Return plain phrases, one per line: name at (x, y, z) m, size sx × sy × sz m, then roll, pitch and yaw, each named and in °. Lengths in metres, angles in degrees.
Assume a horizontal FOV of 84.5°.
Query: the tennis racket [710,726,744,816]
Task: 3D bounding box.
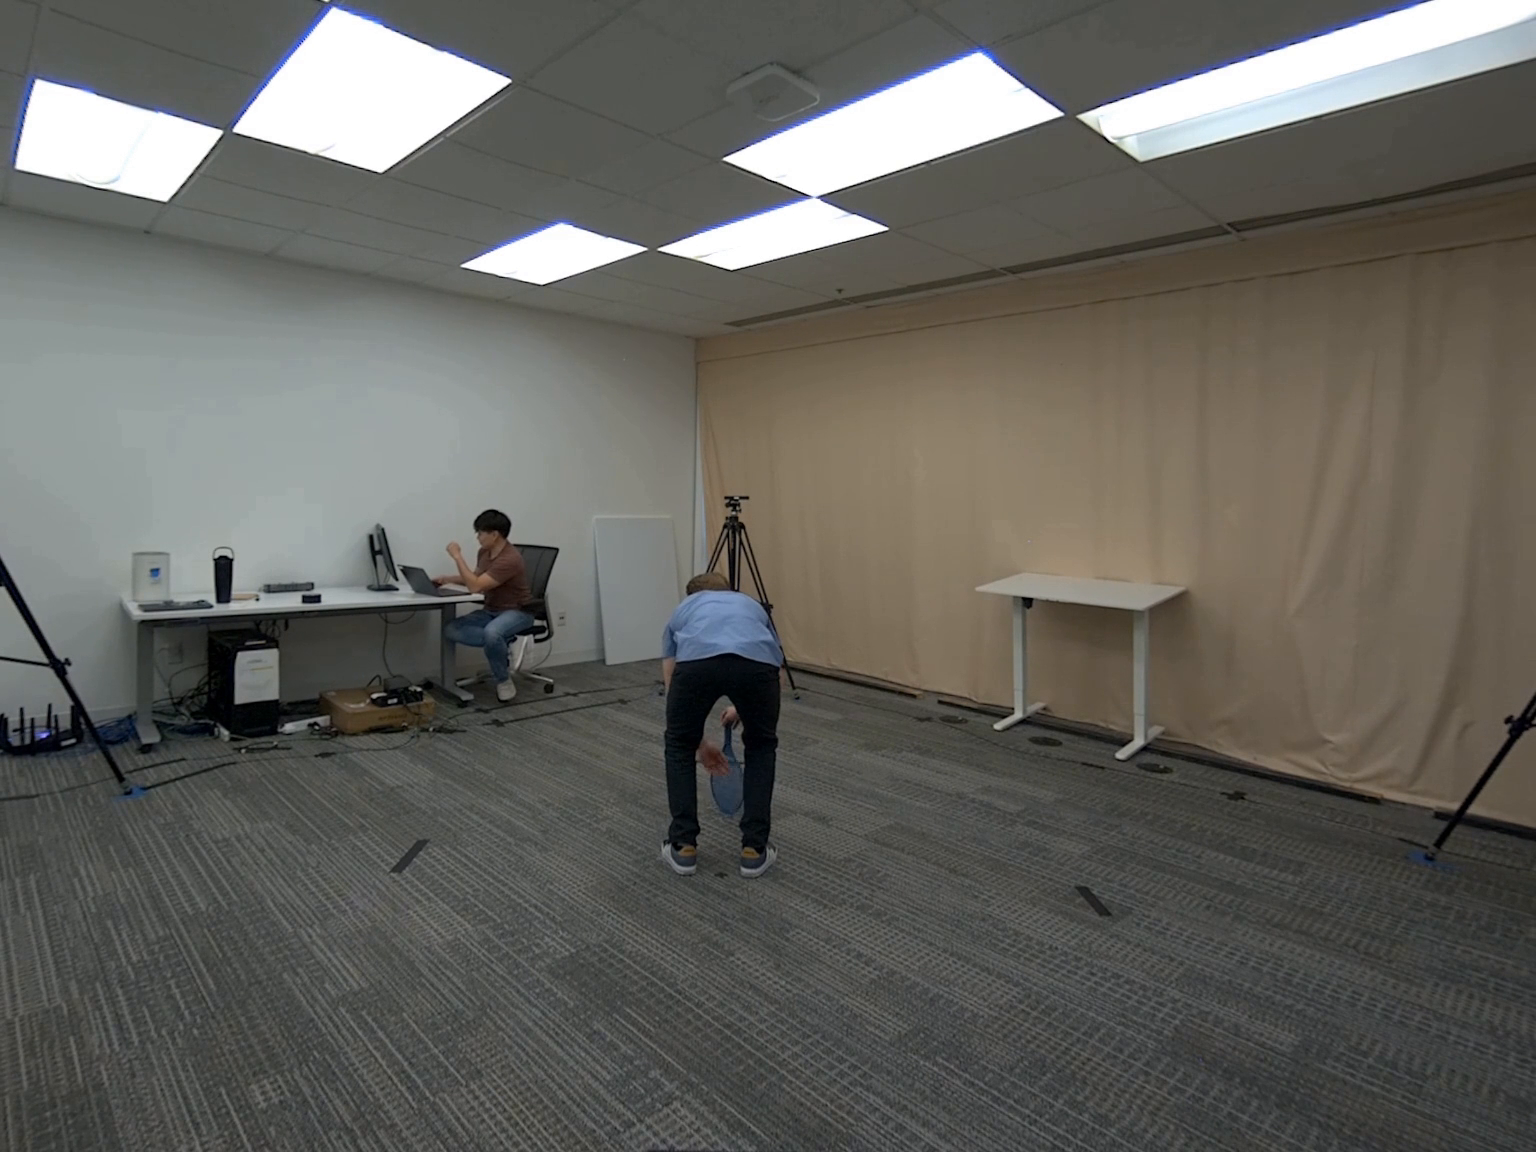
tennis racket at (-0.181, 0.836, 3.706) m, size 0.031 × 0.431 × 0.220 m, roll -1°, pitch 9°, yaw -40°
